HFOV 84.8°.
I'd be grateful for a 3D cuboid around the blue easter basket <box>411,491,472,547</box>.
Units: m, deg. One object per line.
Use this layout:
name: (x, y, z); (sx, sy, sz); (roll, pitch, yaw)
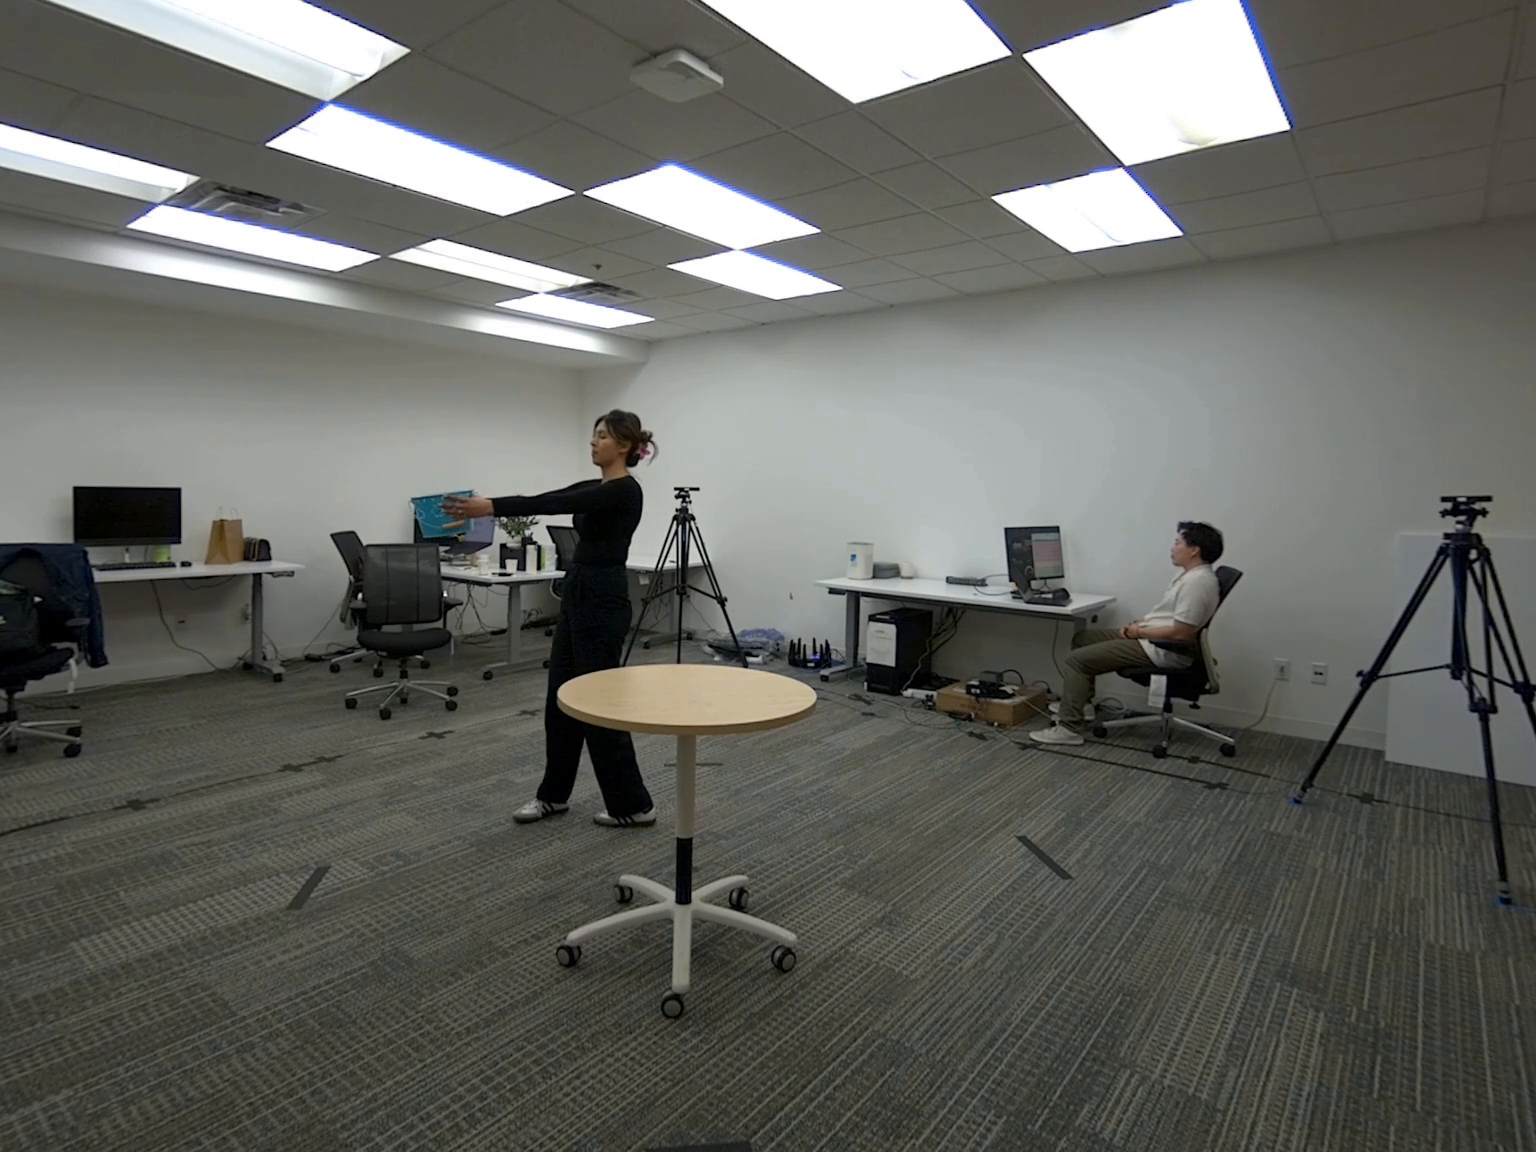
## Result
blue easter basket: (-1.222, -0.239, 3.168); (0.243, 0.155, 0.245); (-6, 7, -1)
